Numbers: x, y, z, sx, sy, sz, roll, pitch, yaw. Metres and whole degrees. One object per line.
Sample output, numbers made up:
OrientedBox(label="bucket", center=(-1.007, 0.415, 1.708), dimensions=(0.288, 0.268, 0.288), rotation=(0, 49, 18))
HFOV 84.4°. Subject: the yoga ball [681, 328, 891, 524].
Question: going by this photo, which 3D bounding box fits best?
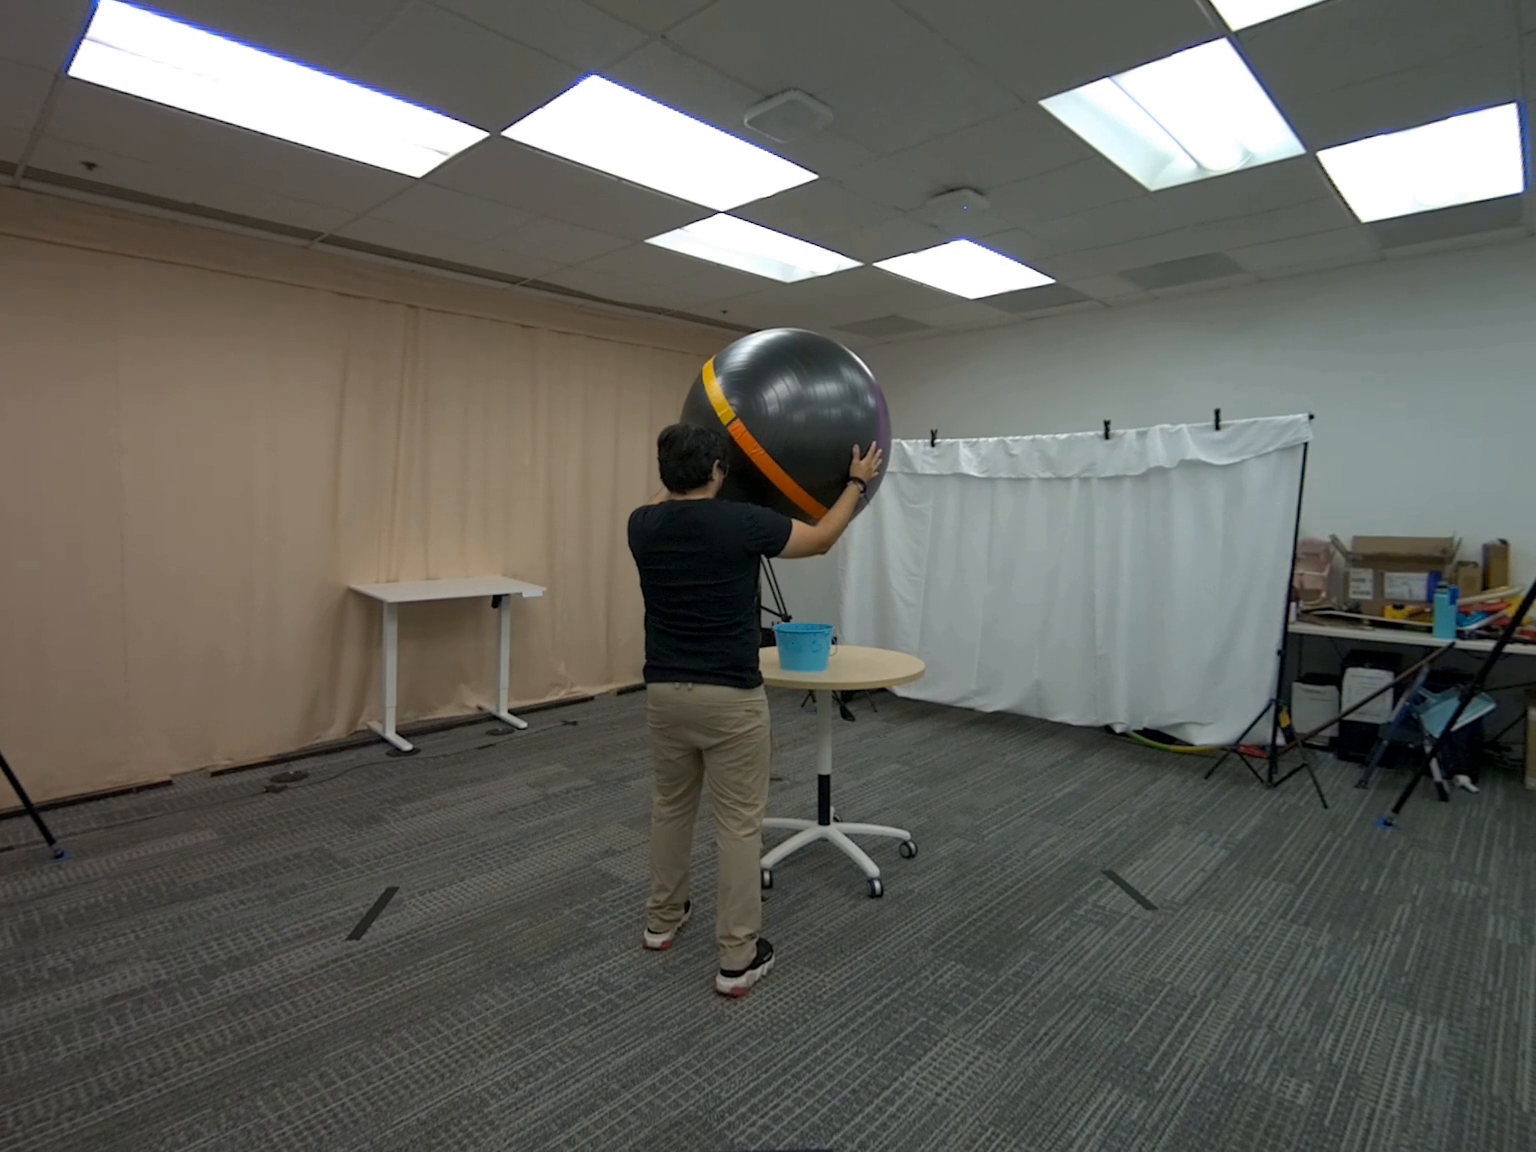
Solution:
OrientedBox(label="yoga ball", center=(0.061, -0.488, 3.009), dimensions=(0.757, 0.756, 0.760), rotation=(0, 4, -2))
